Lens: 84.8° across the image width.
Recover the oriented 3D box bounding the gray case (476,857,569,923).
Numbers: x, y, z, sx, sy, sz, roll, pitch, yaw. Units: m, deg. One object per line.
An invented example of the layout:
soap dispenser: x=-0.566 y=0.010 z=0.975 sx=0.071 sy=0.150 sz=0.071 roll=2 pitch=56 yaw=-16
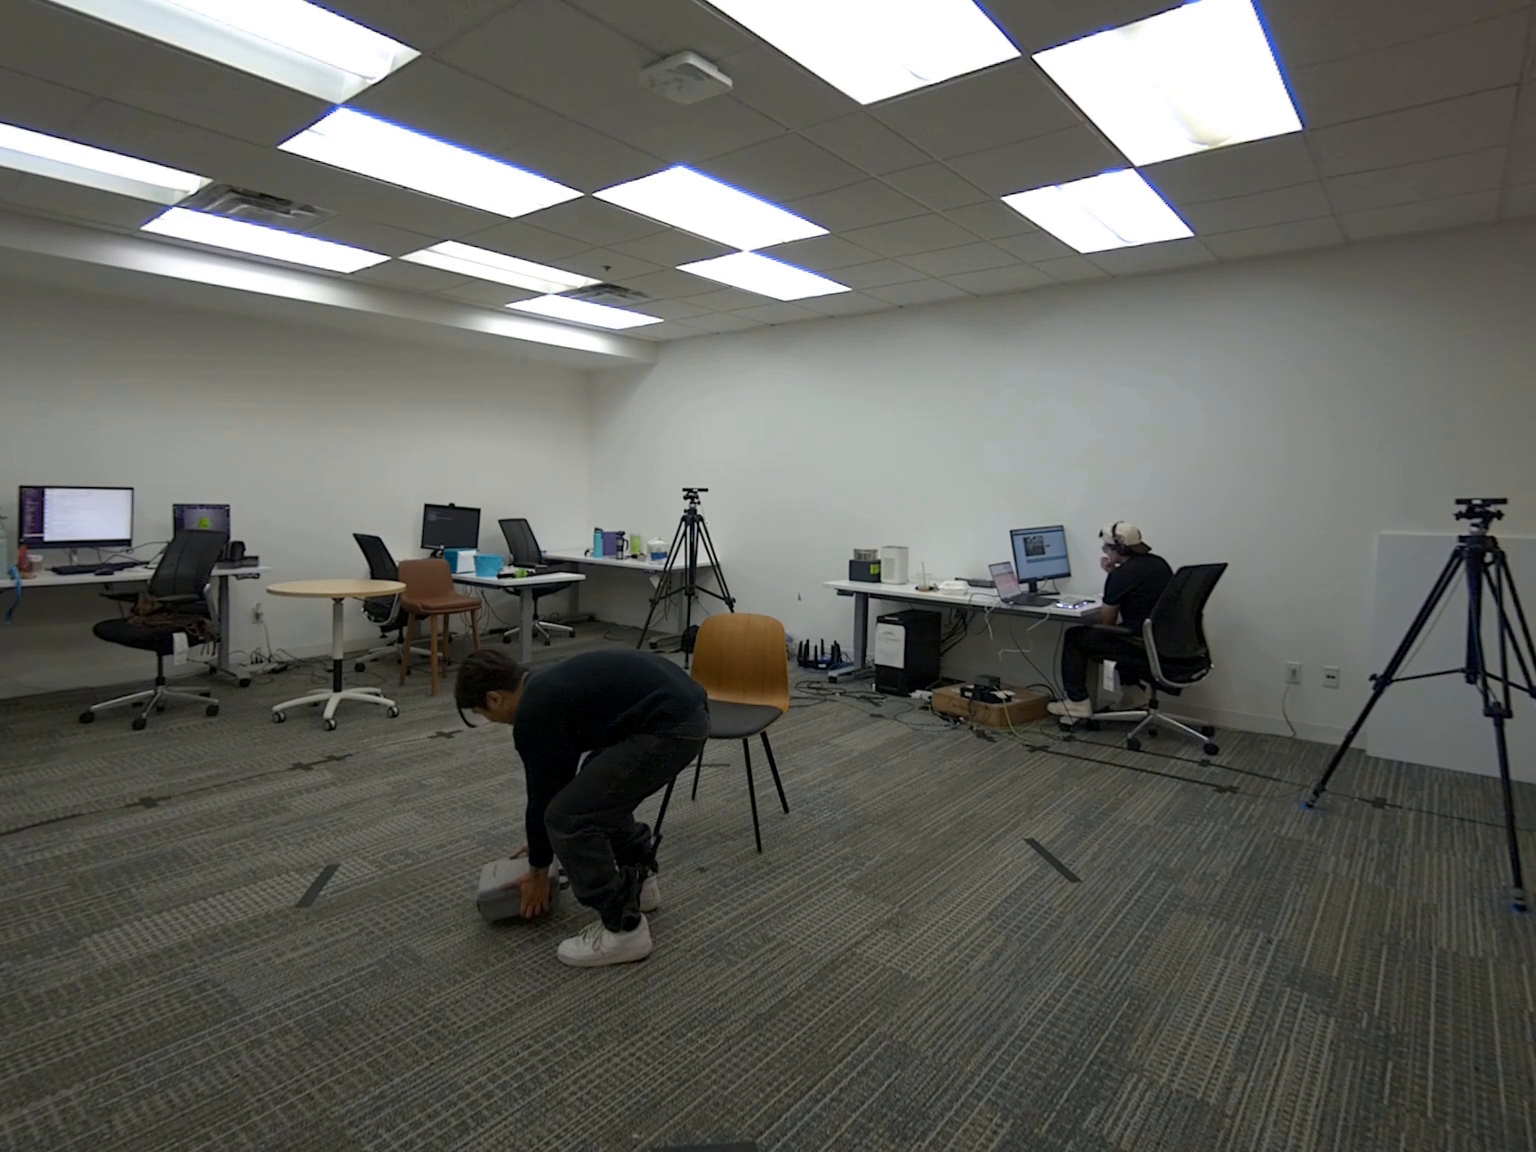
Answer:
gray case: x=-0.824 y=1.002 z=2.779 sx=0.258 sy=0.104 sz=0.260 roll=-9 pitch=3 yaw=-13
